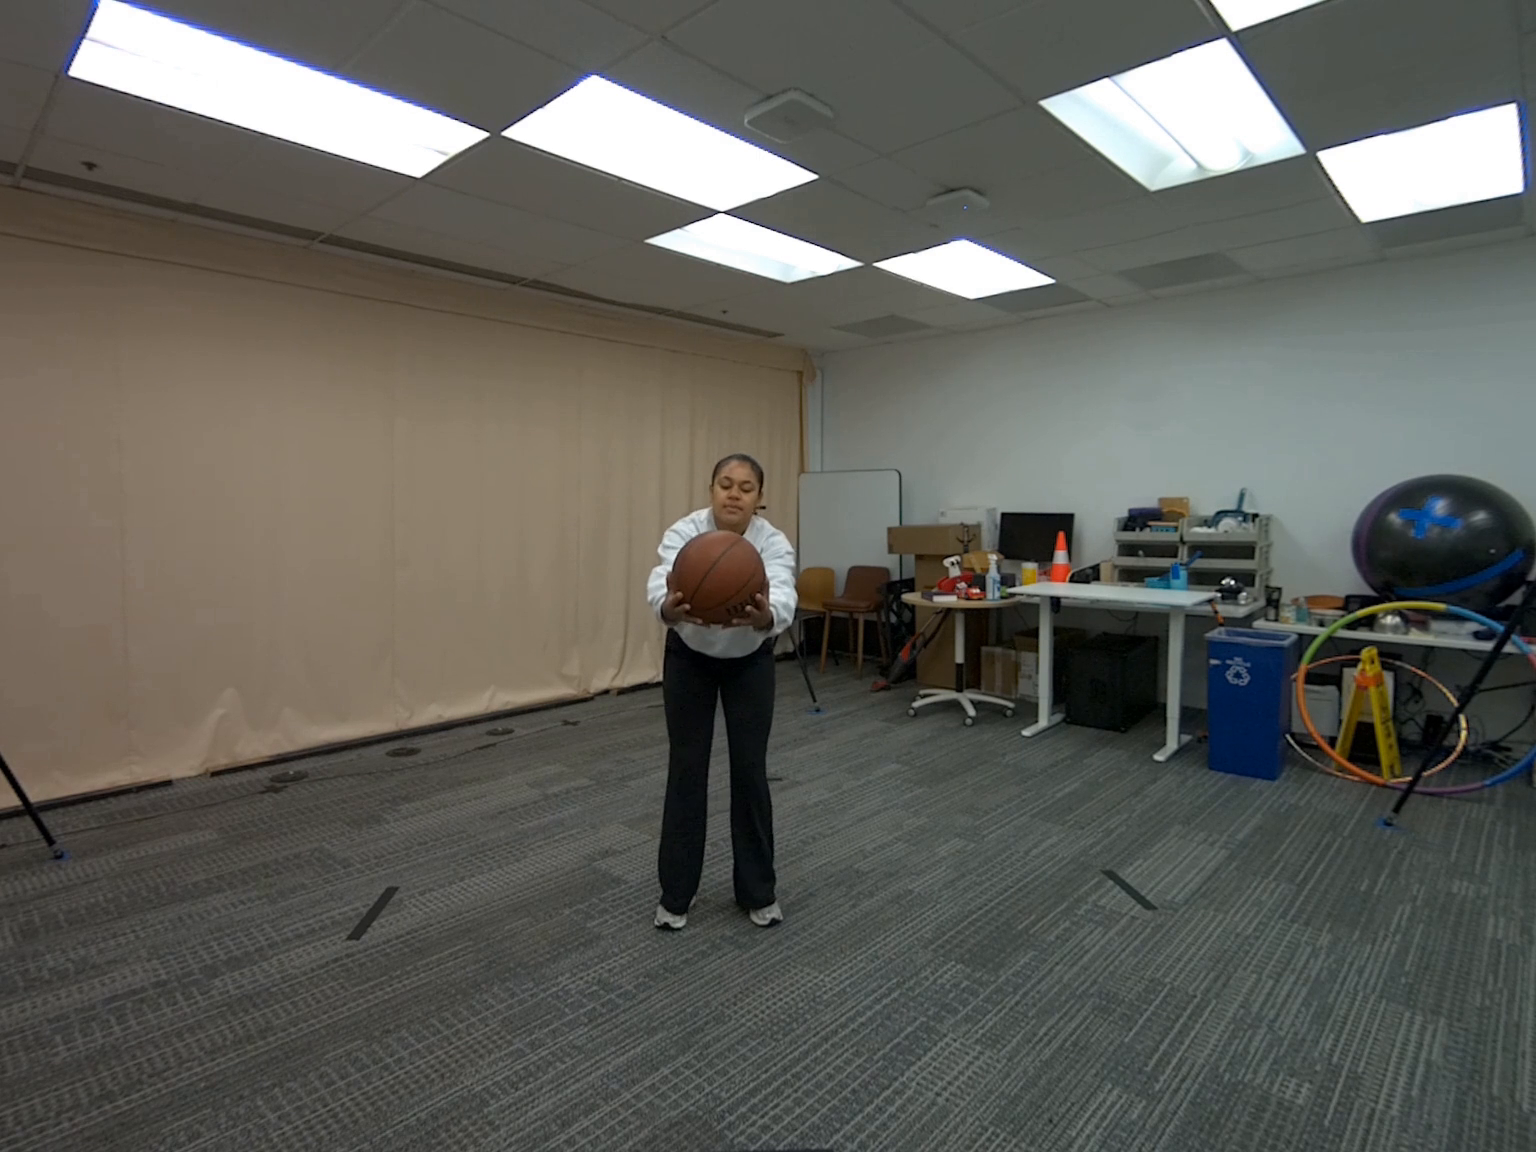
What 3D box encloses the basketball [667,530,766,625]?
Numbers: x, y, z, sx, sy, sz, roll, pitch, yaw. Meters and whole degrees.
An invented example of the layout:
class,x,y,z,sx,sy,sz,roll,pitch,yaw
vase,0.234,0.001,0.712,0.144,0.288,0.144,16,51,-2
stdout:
class,x,y,z,sx,sy,sz,roll,pitch,yaw
basketball,-0.126,0.014,2.145,0.236,0.235,0.237,0,4,-2
